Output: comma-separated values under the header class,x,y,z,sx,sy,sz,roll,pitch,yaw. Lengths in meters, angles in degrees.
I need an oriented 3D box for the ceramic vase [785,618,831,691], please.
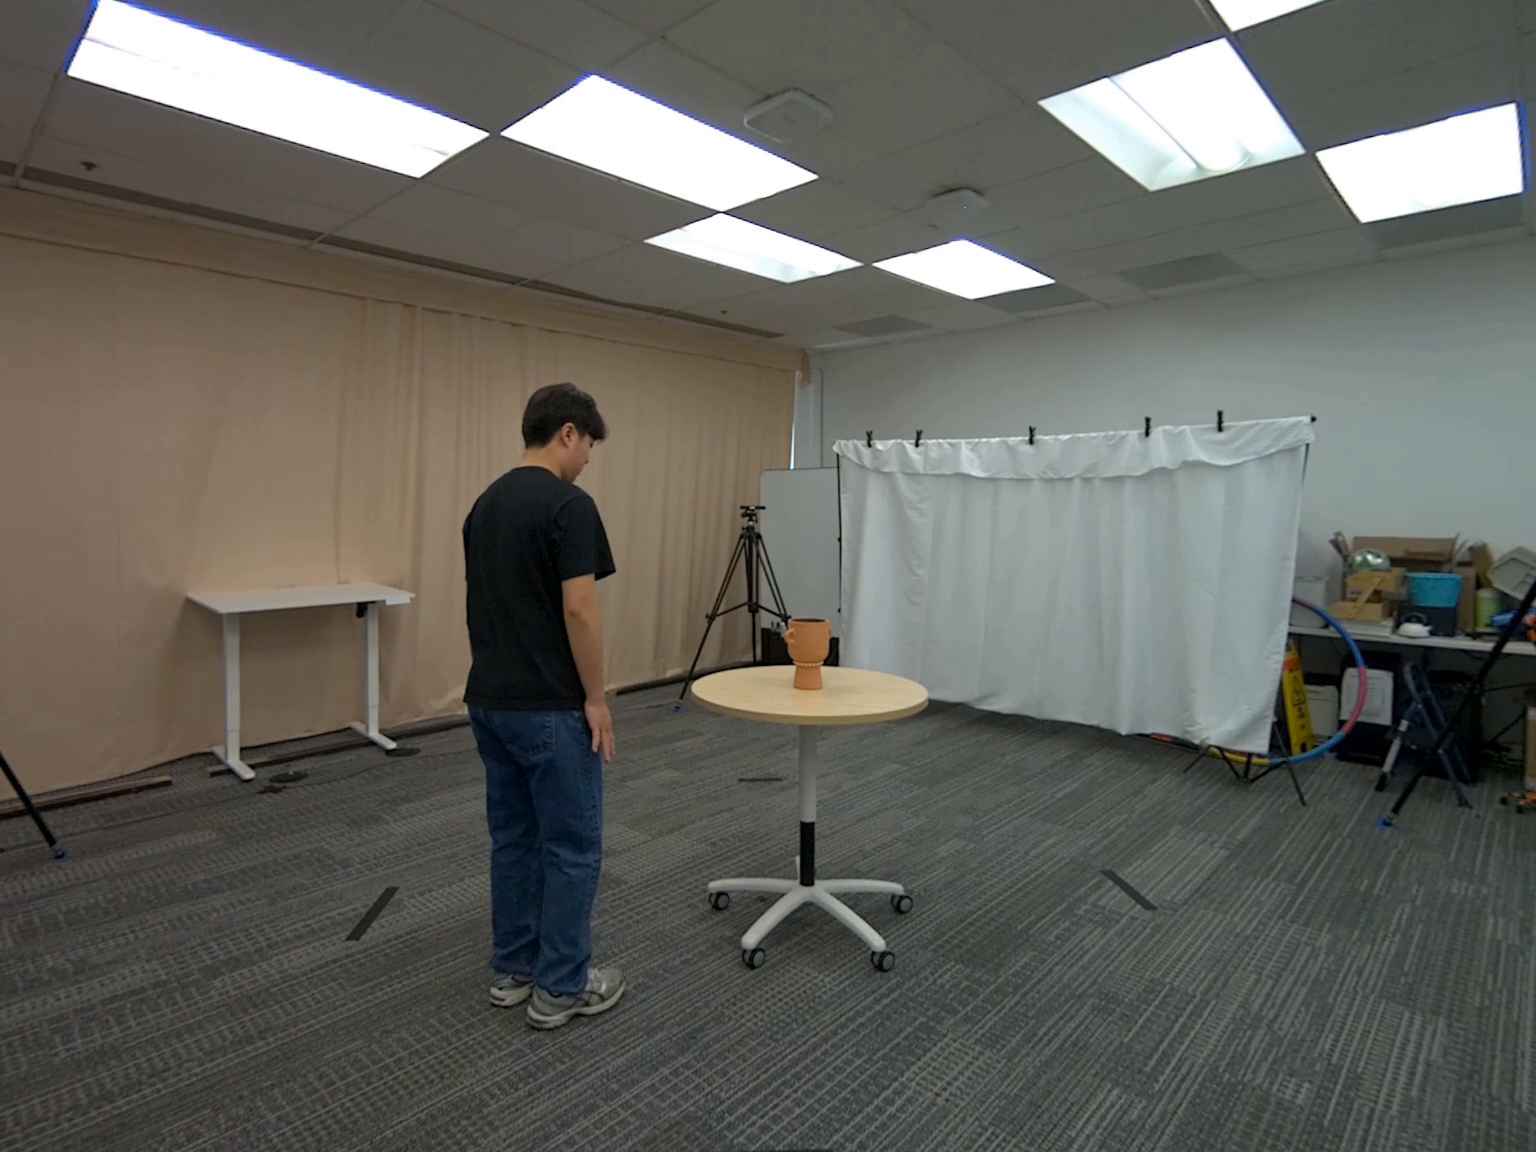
class,x,y,z,sx,sy,sz,roll,pitch,yaw
ceramic vase,0.141,0.258,2.757,0.159,0.219,0.134,1,3,4
